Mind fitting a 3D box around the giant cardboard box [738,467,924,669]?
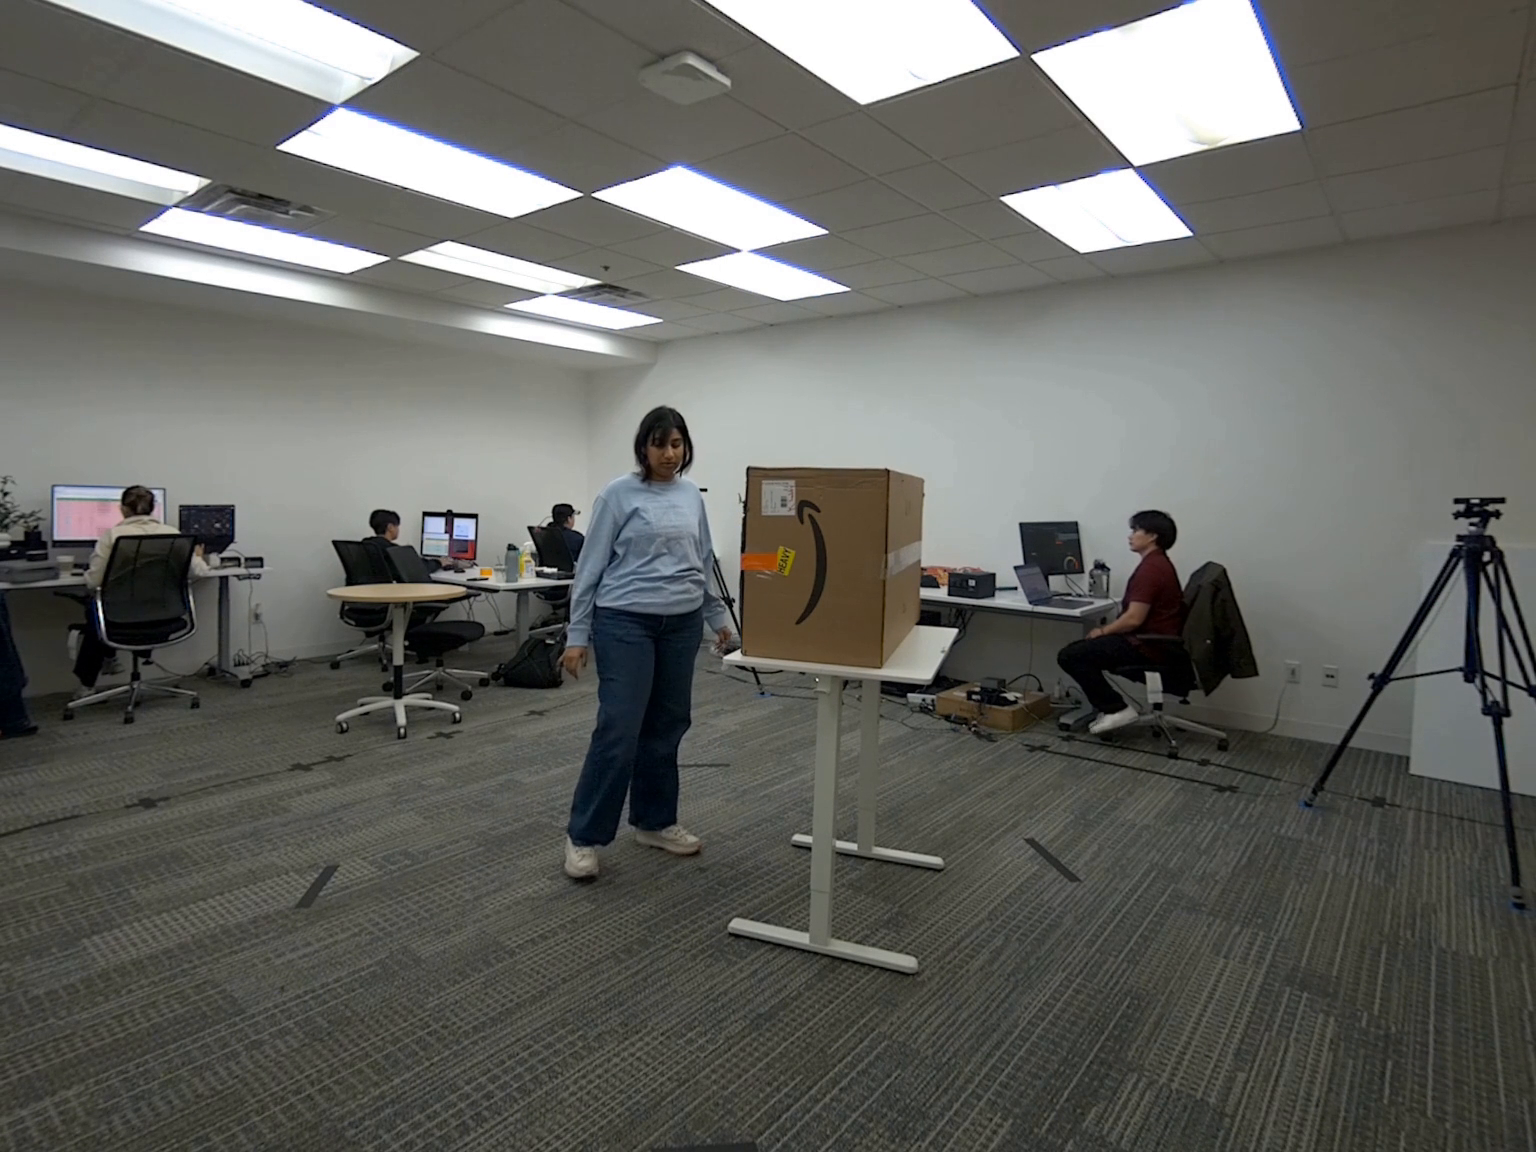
[{"bbox_3d":[0.261,-0.072,2.951,0.435,0.575,1.009,3,5,17],"label":"giant cardboard box"}]
